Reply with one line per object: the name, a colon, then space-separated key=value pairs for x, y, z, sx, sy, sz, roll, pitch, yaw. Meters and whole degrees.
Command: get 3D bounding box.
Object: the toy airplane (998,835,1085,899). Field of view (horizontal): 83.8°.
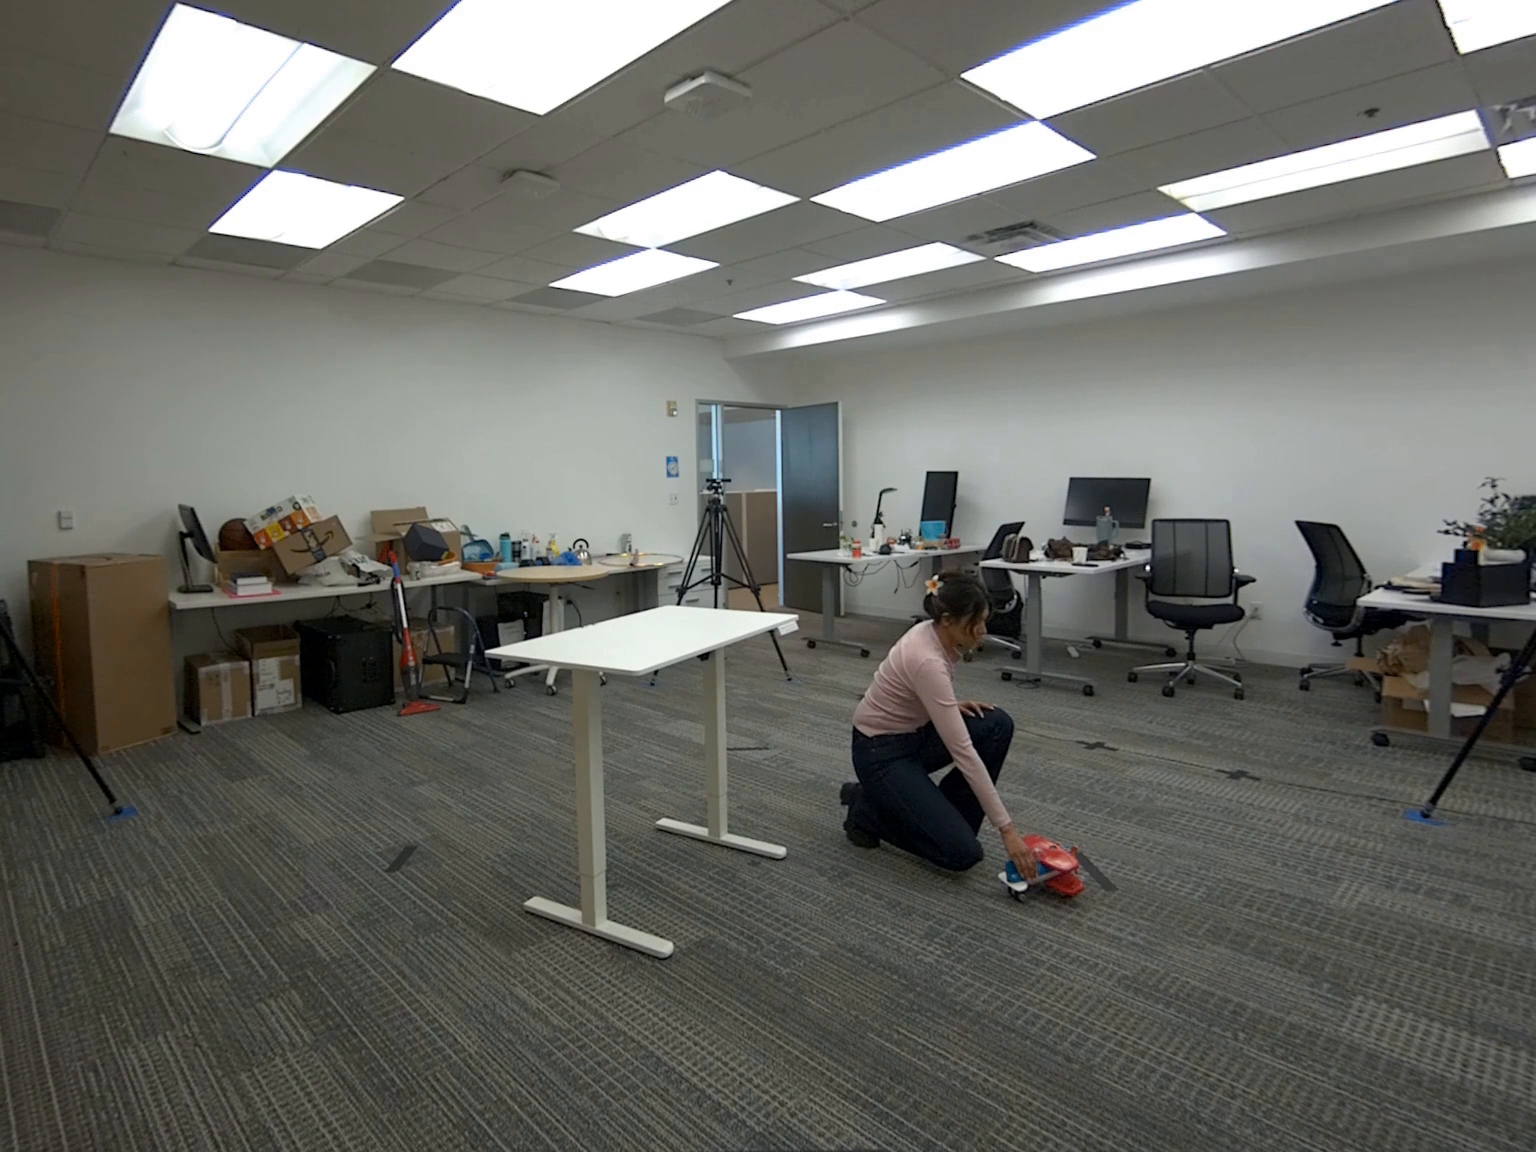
toy airplane: x=0.916 y=0.991 z=2.826 sx=0.259 sy=0.156 sz=0.252 roll=4 pitch=6 yaw=44
